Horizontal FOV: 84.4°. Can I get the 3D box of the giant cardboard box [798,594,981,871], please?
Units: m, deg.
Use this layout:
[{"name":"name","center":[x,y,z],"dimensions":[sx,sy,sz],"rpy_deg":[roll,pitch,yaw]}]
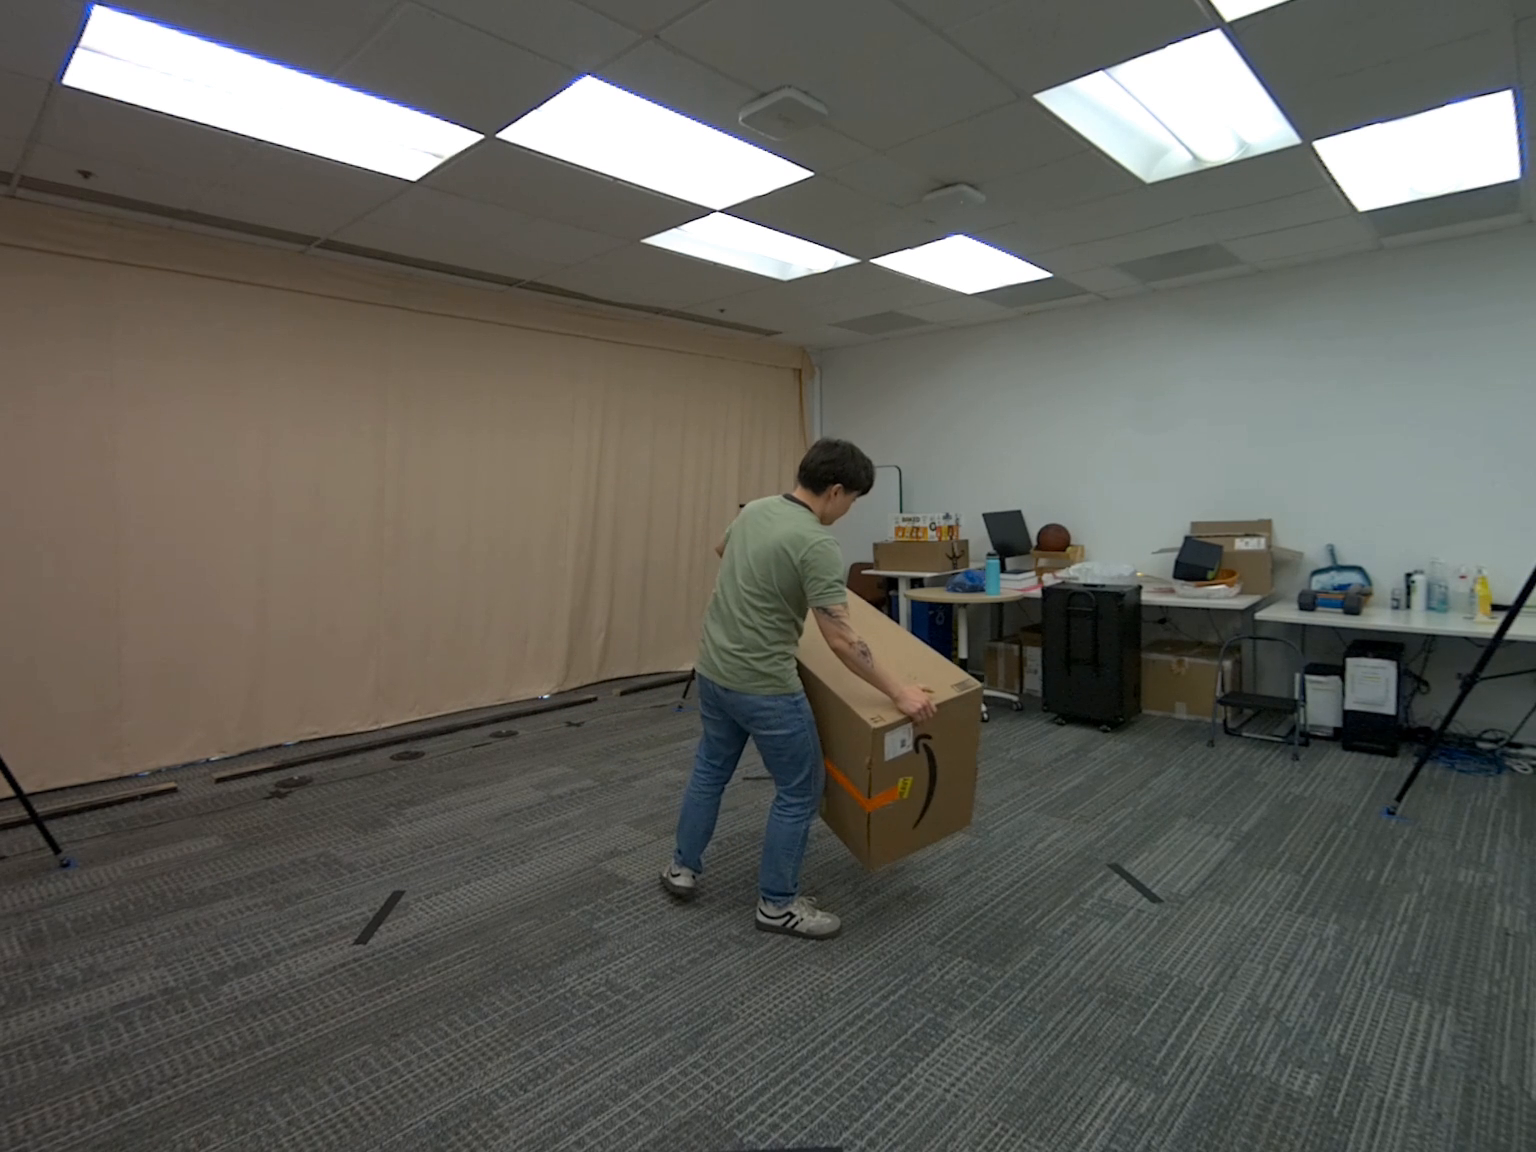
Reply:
[{"name":"giant cardboard box","center":[0.242,0.440,3.053],"dimensions":[0.418,0.568,1.062],"rpy_deg":[-15,29,-24]}]
